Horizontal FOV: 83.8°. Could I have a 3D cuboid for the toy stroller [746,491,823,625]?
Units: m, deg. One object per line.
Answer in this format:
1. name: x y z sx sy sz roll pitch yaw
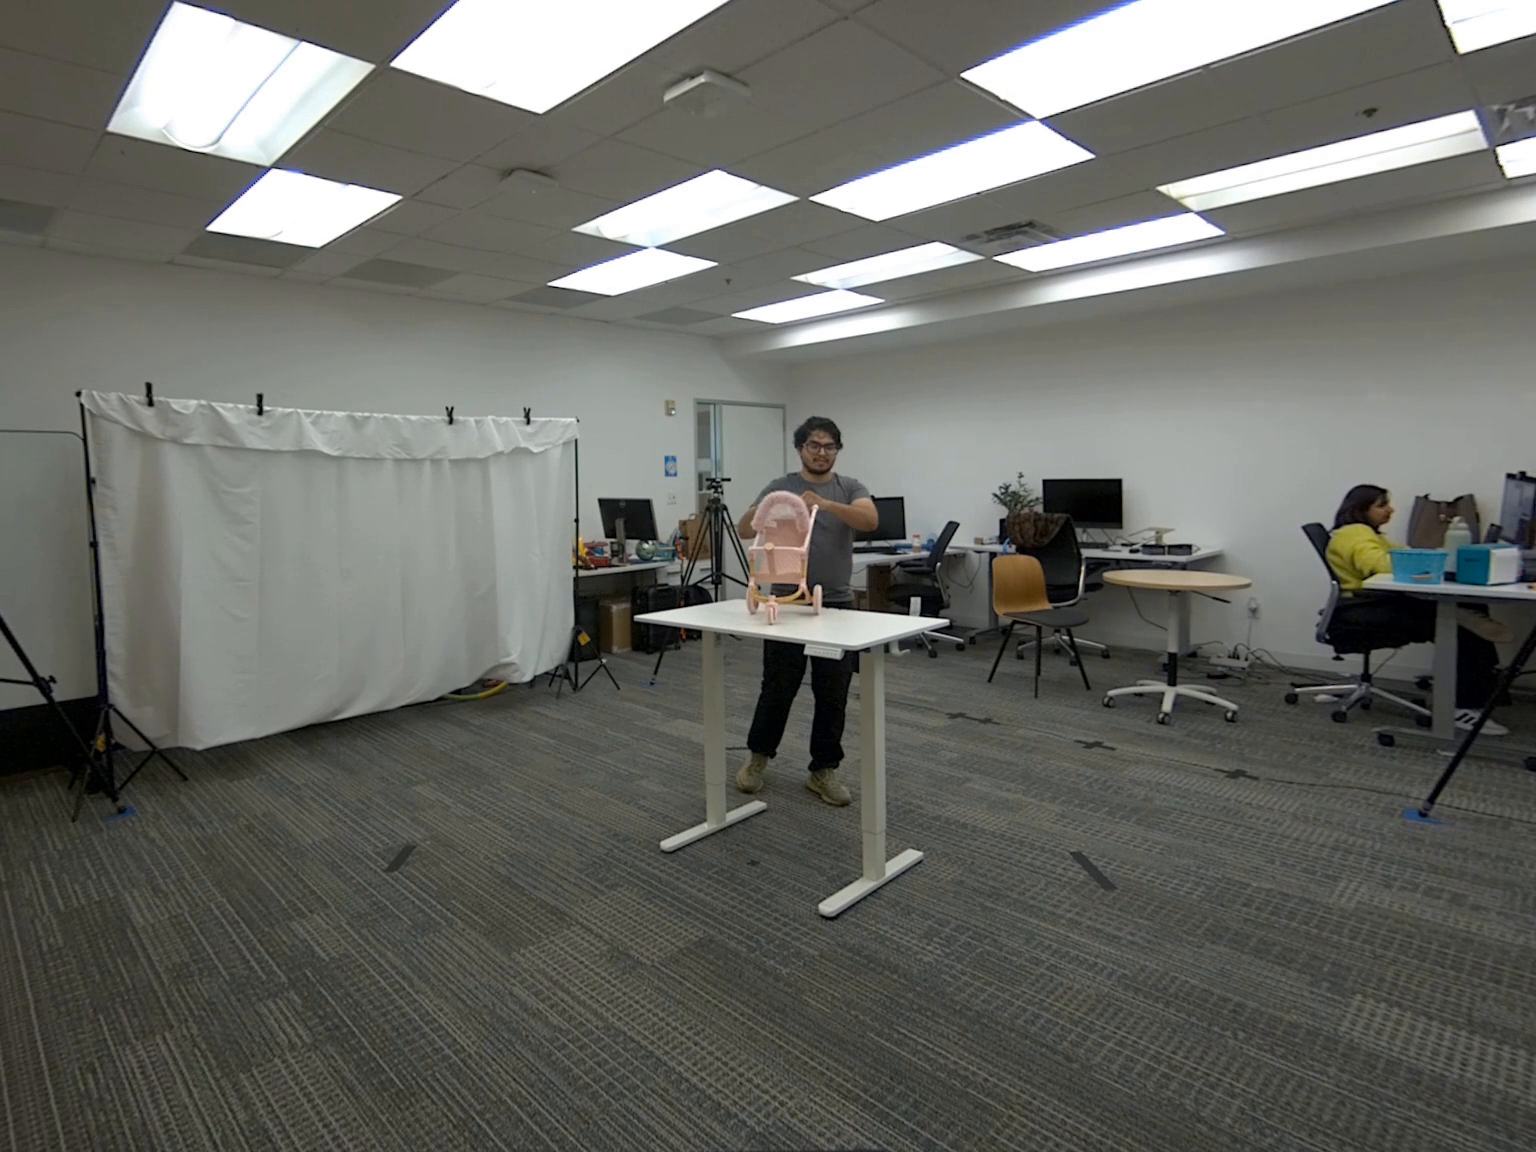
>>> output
1. toy stroller: 0.046 -0.069 3.159 0.286 0.539 0.333 0 -10 17
